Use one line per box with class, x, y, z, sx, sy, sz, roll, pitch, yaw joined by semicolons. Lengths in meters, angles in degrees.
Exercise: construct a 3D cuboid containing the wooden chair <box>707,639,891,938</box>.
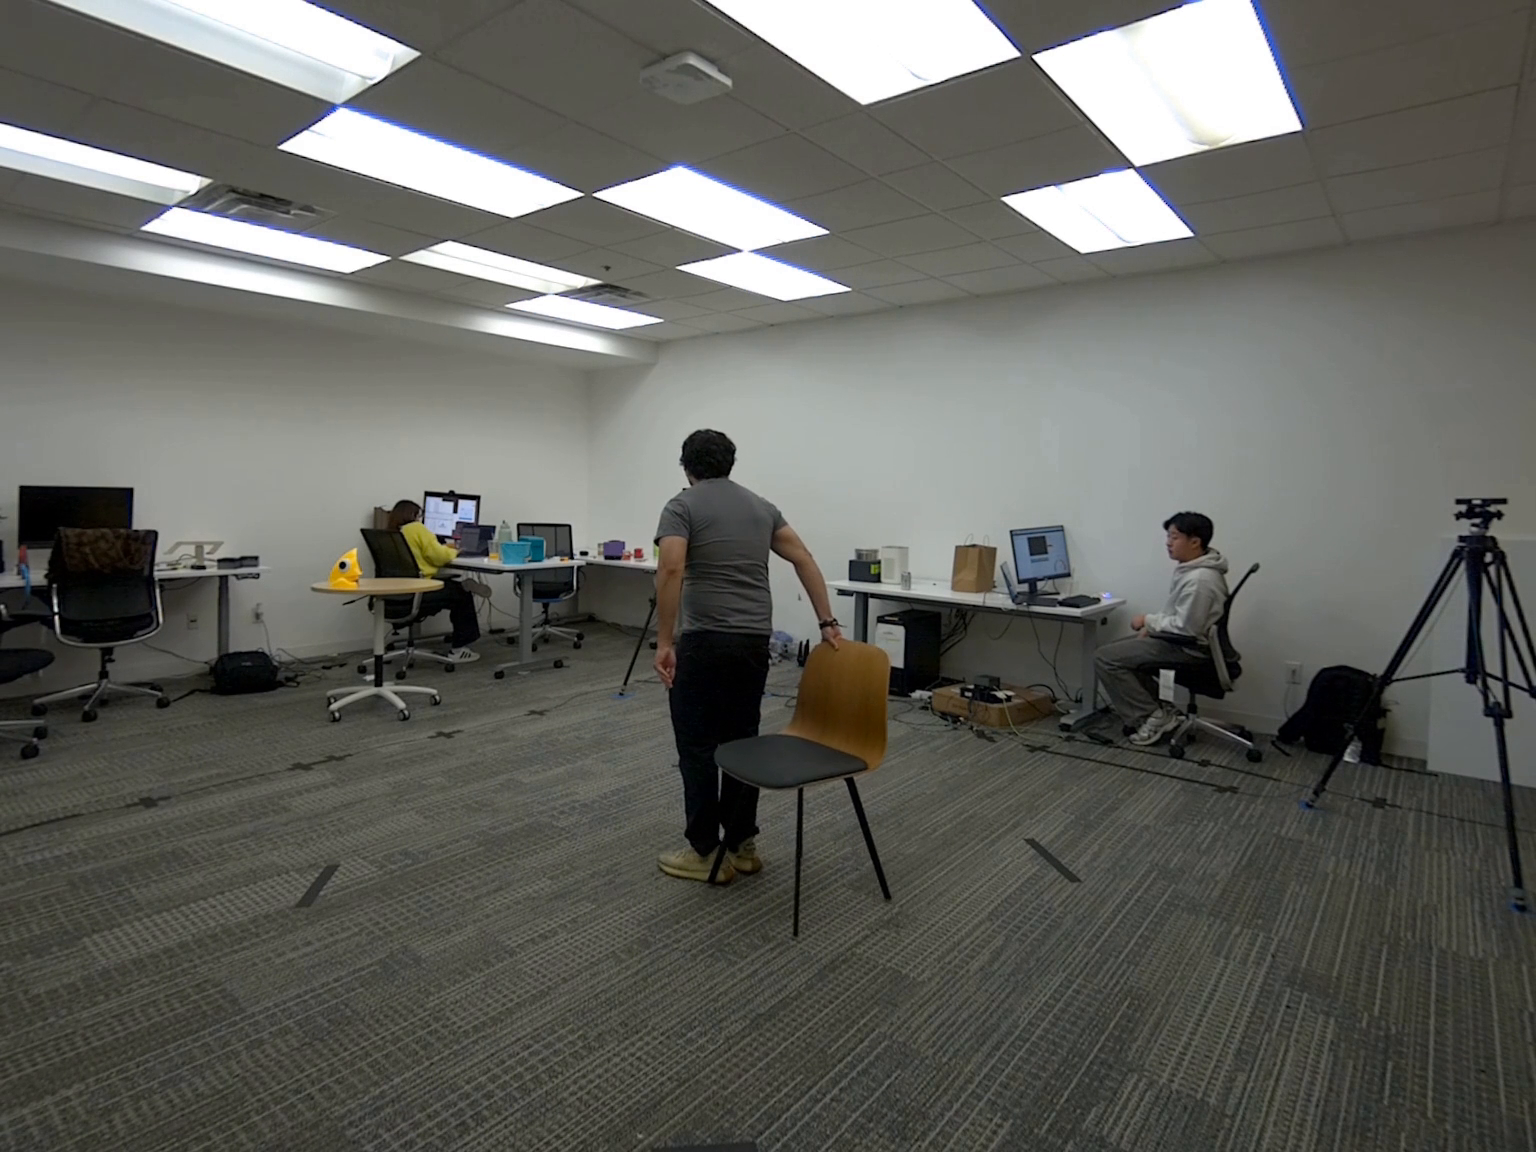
wooden chair;0.111;0.665;2.917;0.506;0.878;0.494;5;0;-40
